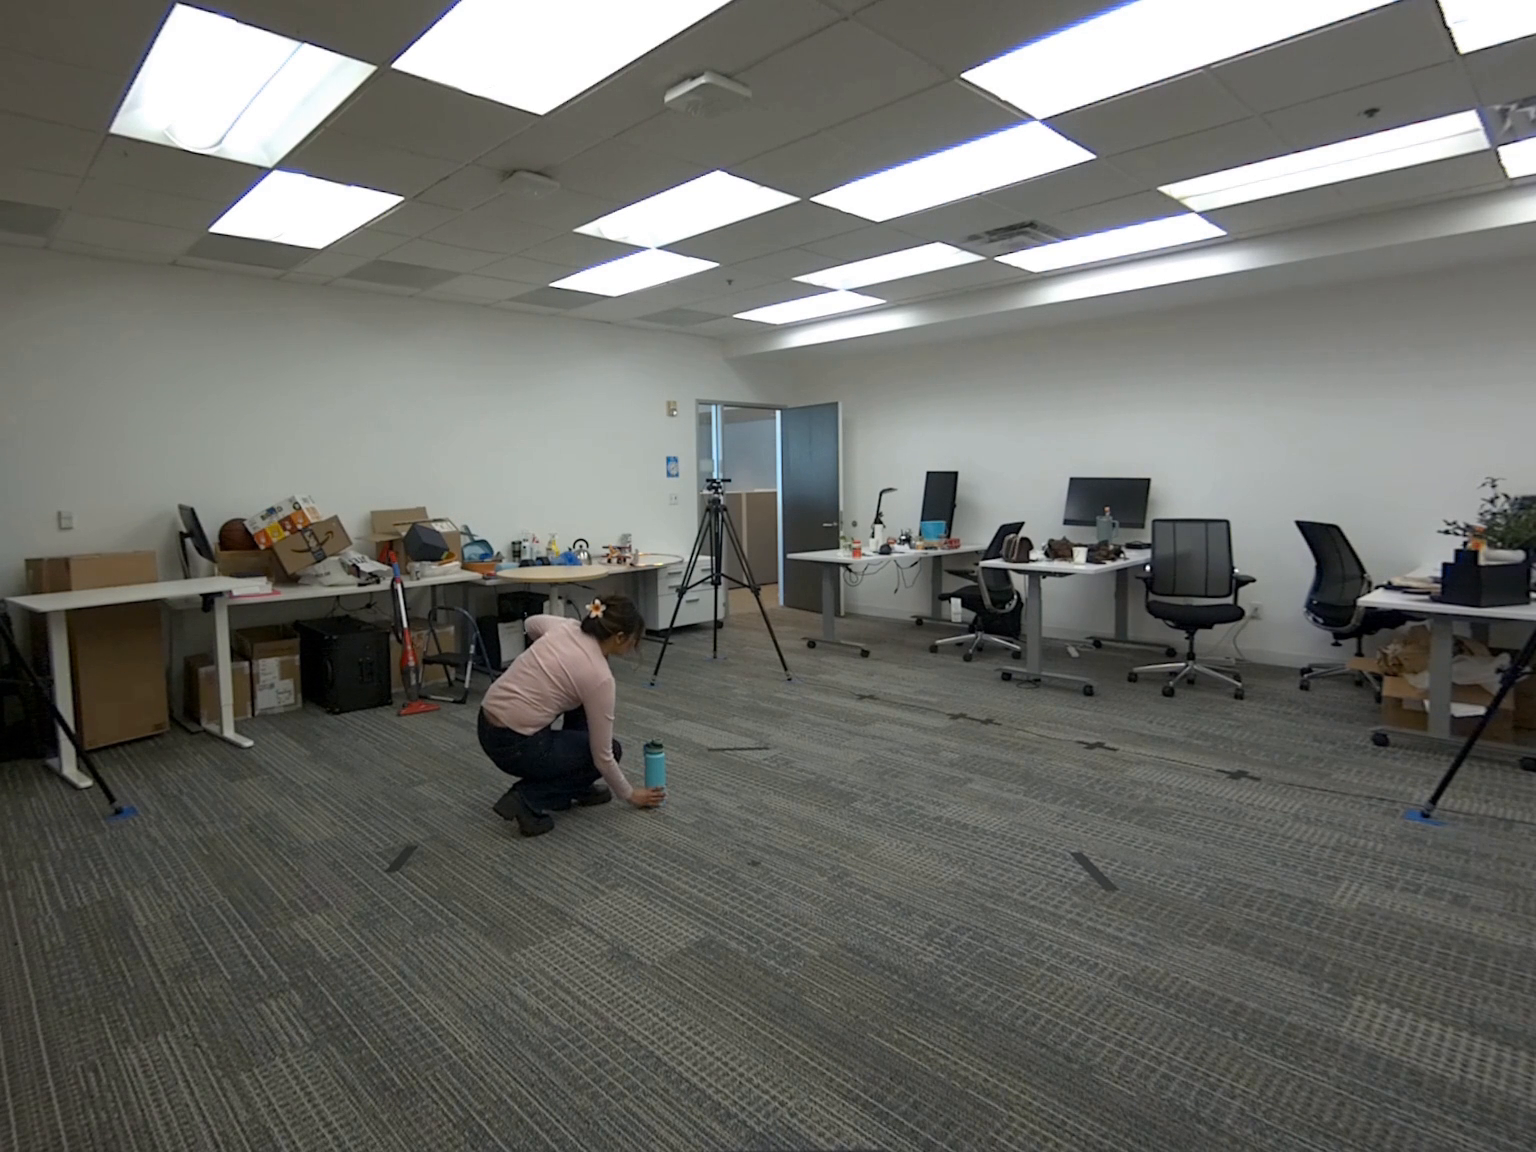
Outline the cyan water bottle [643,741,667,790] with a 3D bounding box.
[{"bbox_3d":[-0.498,0.845,3.696,0.092,0.282,0.092,-3,3,-1],"label":"cyan water bottle"}]
